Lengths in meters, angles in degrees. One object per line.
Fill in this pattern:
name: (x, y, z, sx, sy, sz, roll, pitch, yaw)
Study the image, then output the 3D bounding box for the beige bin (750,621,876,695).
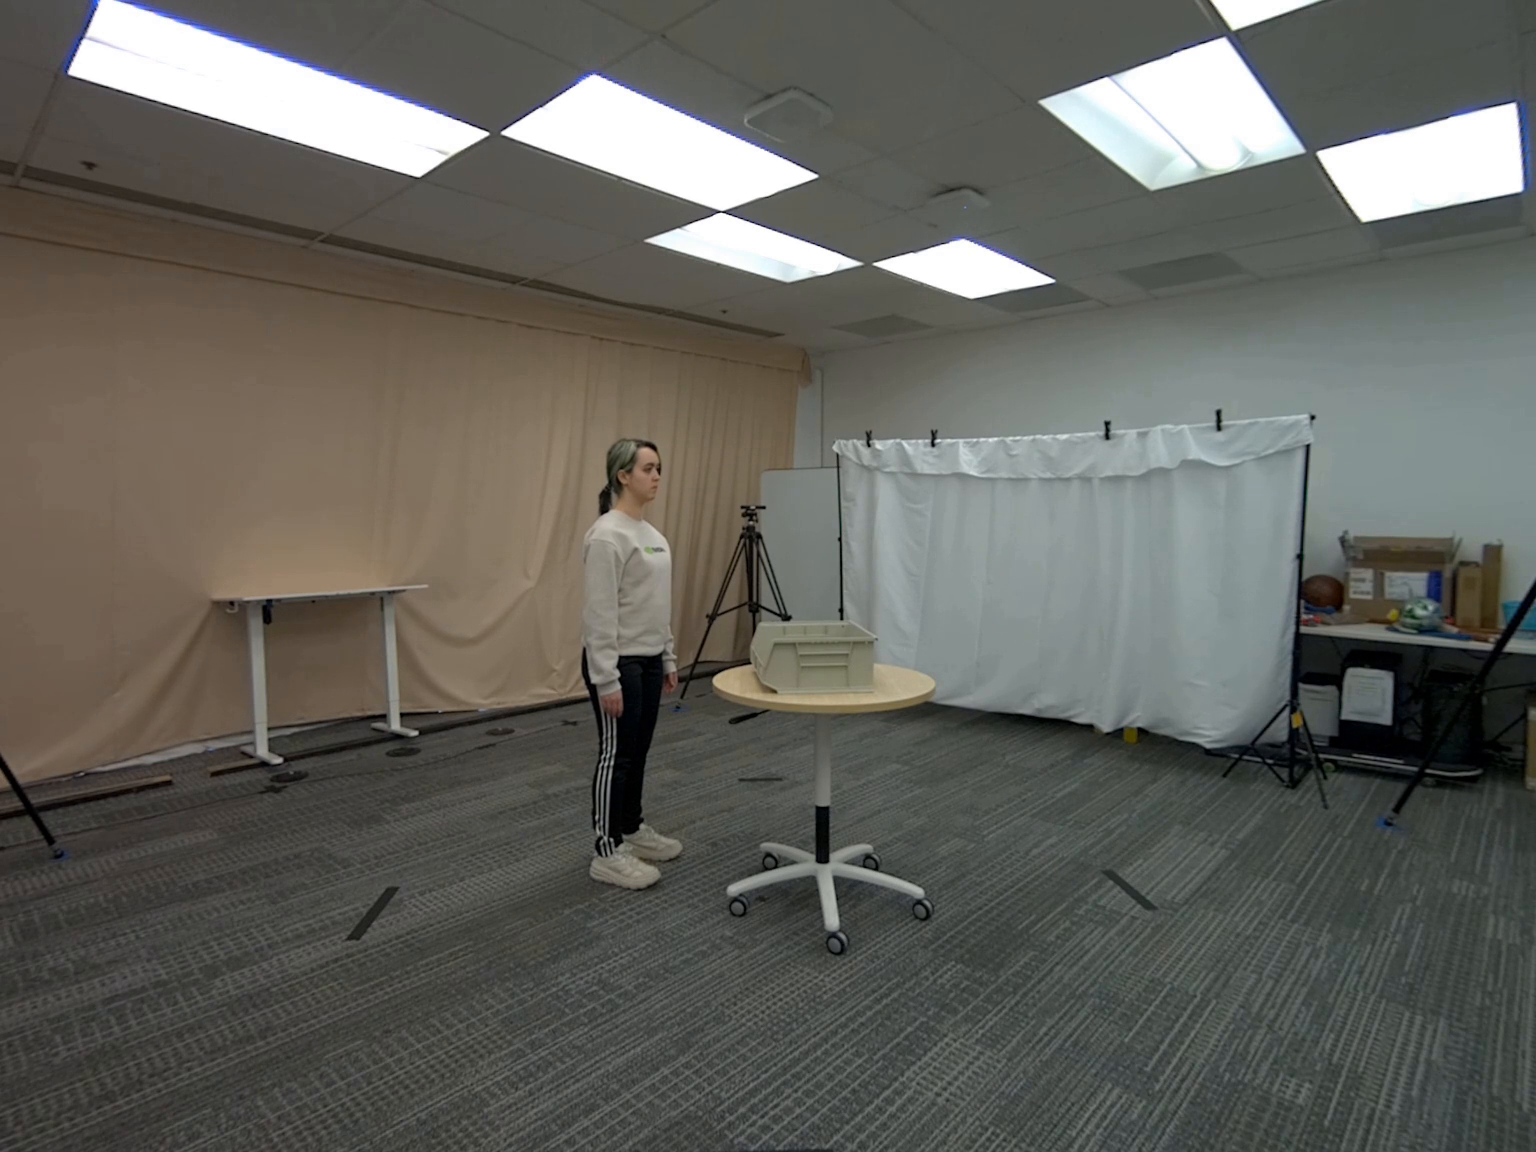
beige bin: (0.139, 0.287, 2.913, 0.376, 0.188, 0.425, -4, 4, -5)
